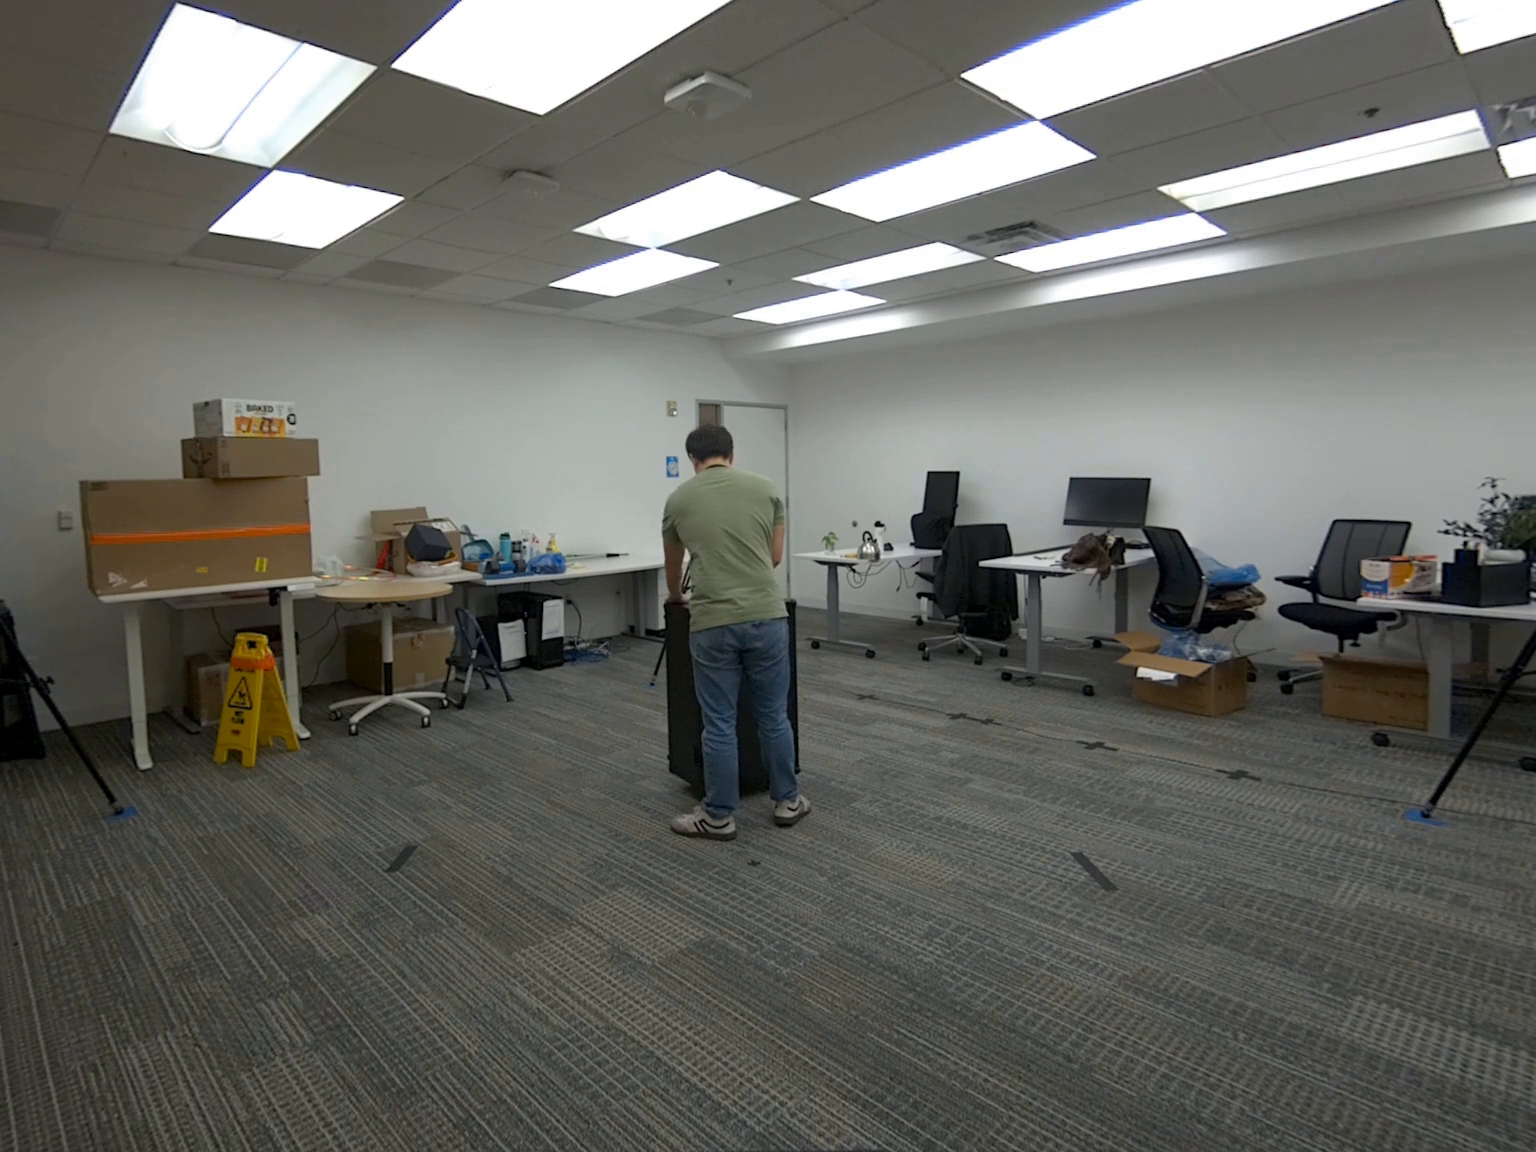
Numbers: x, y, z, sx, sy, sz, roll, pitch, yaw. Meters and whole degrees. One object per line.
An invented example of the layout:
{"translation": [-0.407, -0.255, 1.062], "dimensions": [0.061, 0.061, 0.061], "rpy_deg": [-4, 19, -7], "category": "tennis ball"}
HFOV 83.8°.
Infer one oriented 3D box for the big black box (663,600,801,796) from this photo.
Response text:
{"translation": [-0.175, 0.537, 3.860], "dimensions": [0.508, 0.859, 0.407], "rpy_deg": [-4, 4, -32], "category": "big black box"}
